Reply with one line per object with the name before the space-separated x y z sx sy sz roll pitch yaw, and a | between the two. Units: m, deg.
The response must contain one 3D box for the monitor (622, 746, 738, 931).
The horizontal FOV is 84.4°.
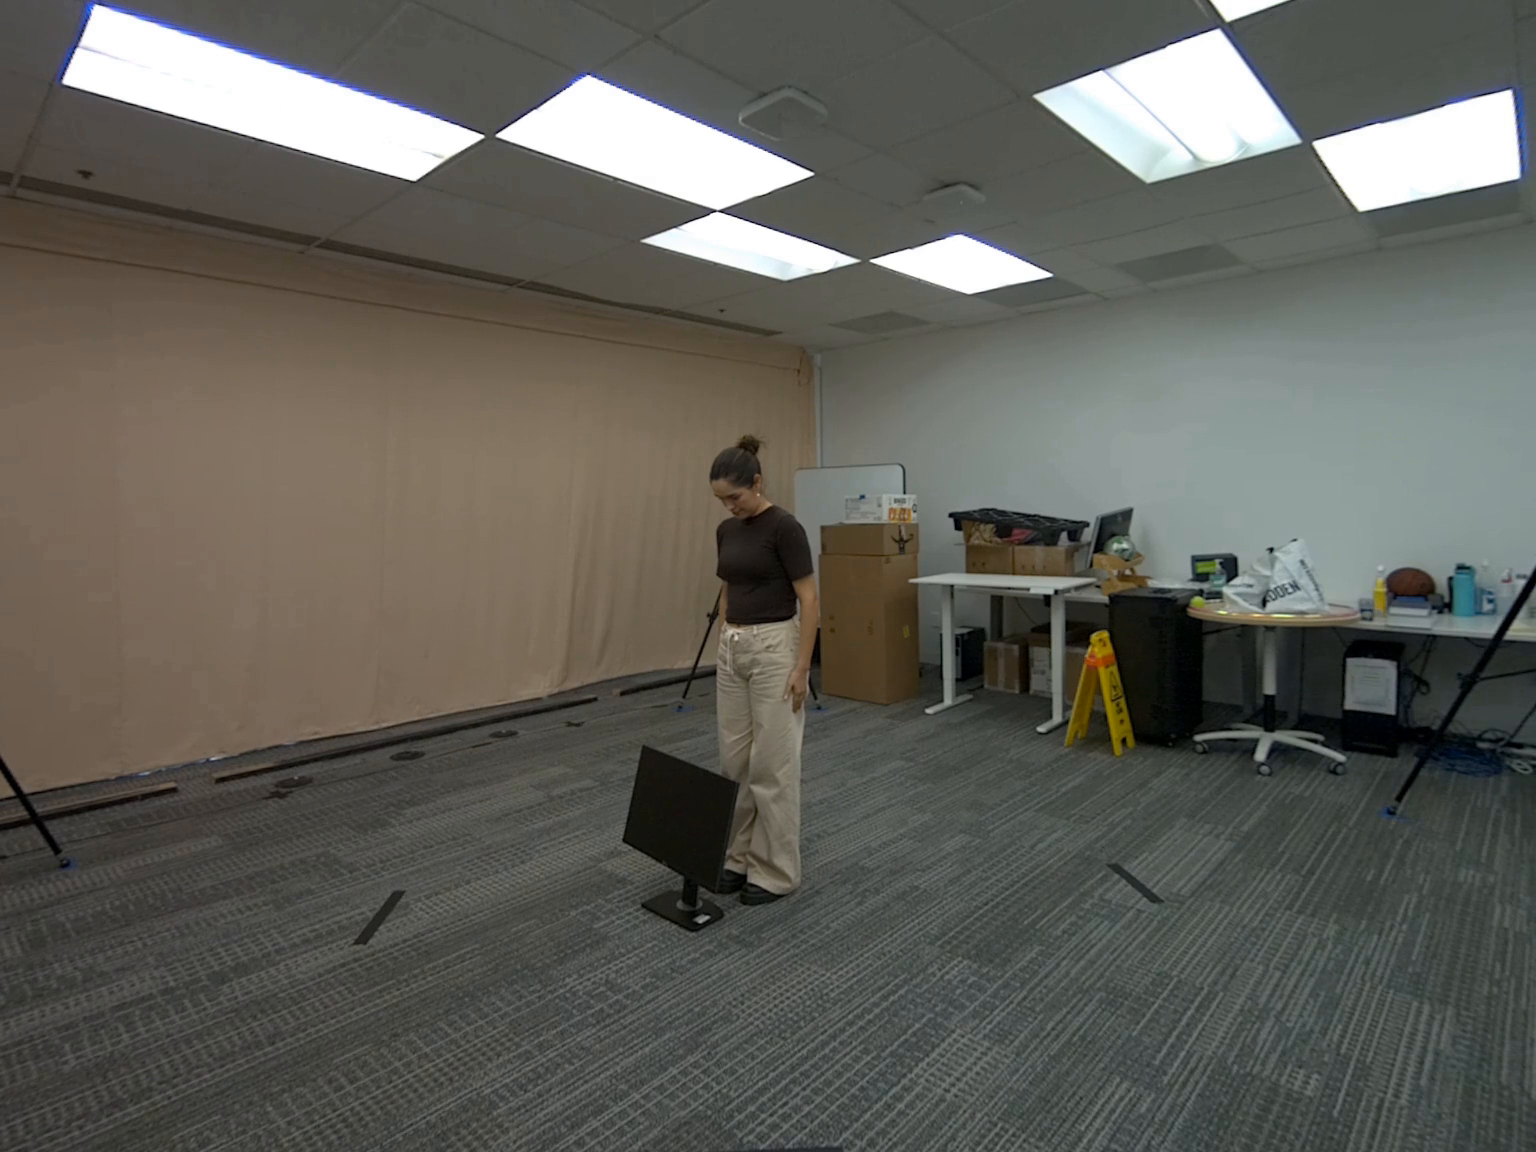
monitor | -0.283 0.903 2.896 0.181 0.522 0.557 -2 4 -44
